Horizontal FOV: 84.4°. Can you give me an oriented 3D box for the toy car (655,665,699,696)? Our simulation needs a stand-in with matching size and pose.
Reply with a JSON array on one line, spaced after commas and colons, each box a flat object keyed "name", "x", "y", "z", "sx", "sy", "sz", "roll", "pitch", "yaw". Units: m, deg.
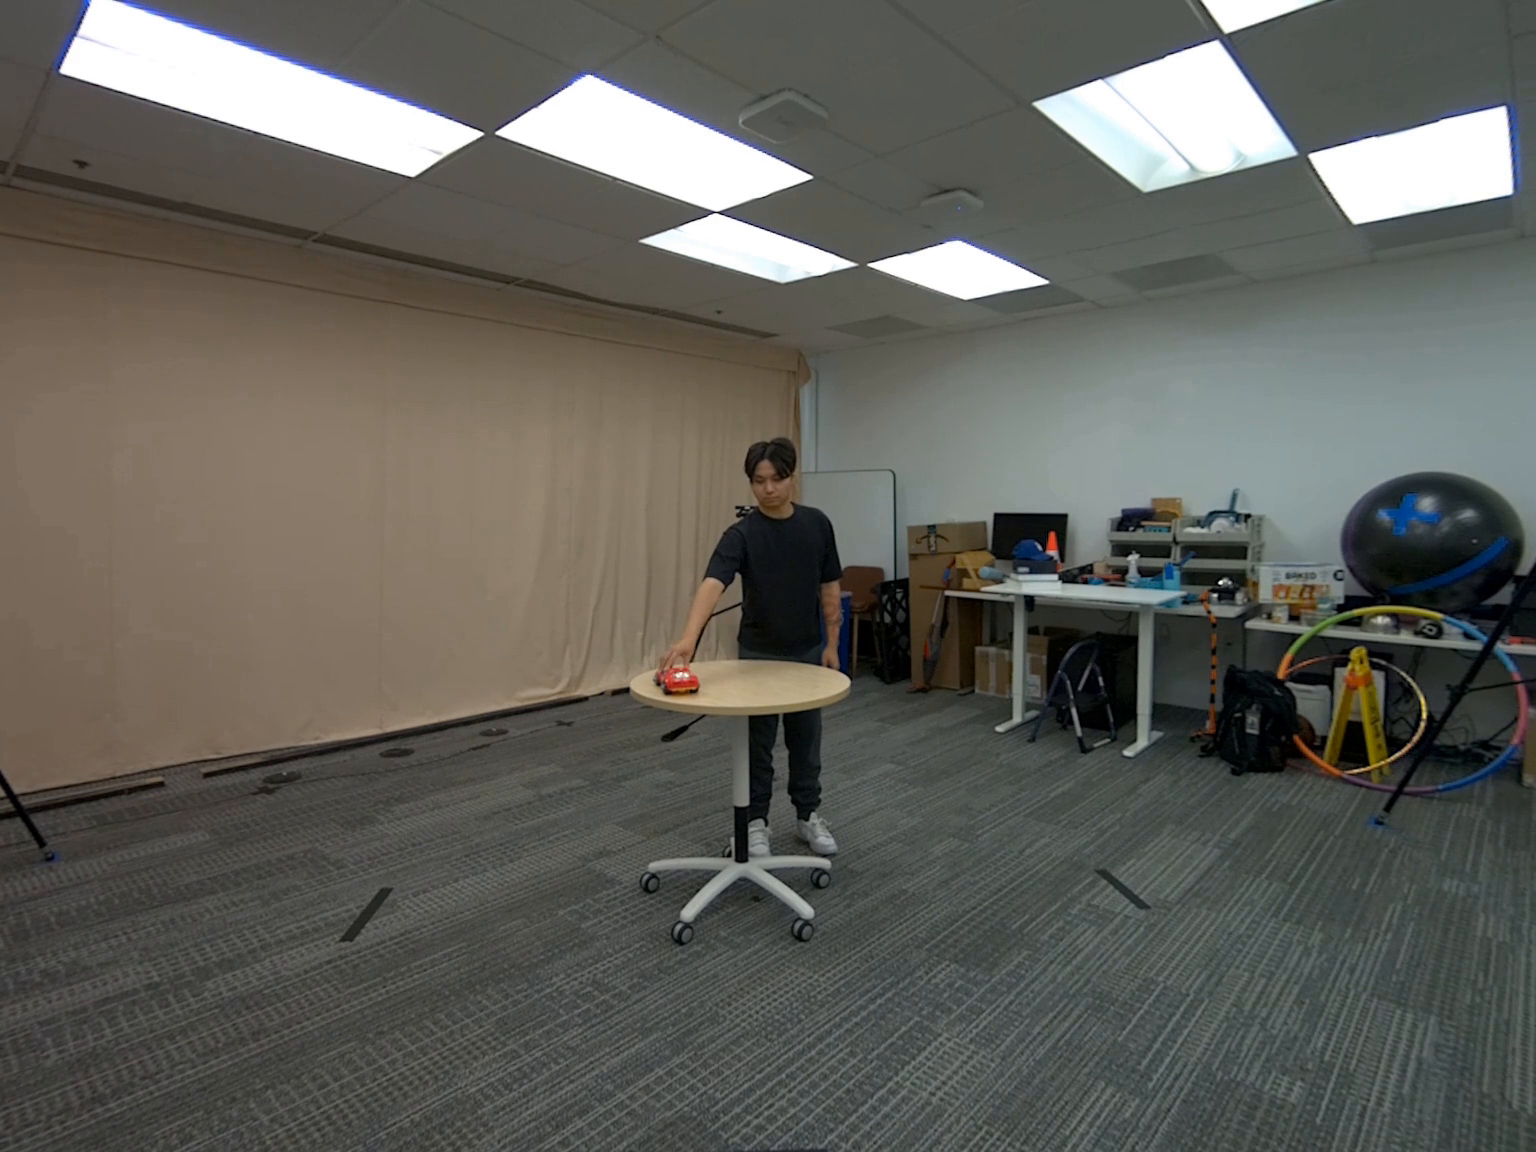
[{"name": "toy car", "x": -0.299, "y": 0.351, "z": 2.796, "sx": 0.128, "sy": 0.084, "sz": 0.257, "roll": -1, "pitch": -8, "yaw": -16}]
